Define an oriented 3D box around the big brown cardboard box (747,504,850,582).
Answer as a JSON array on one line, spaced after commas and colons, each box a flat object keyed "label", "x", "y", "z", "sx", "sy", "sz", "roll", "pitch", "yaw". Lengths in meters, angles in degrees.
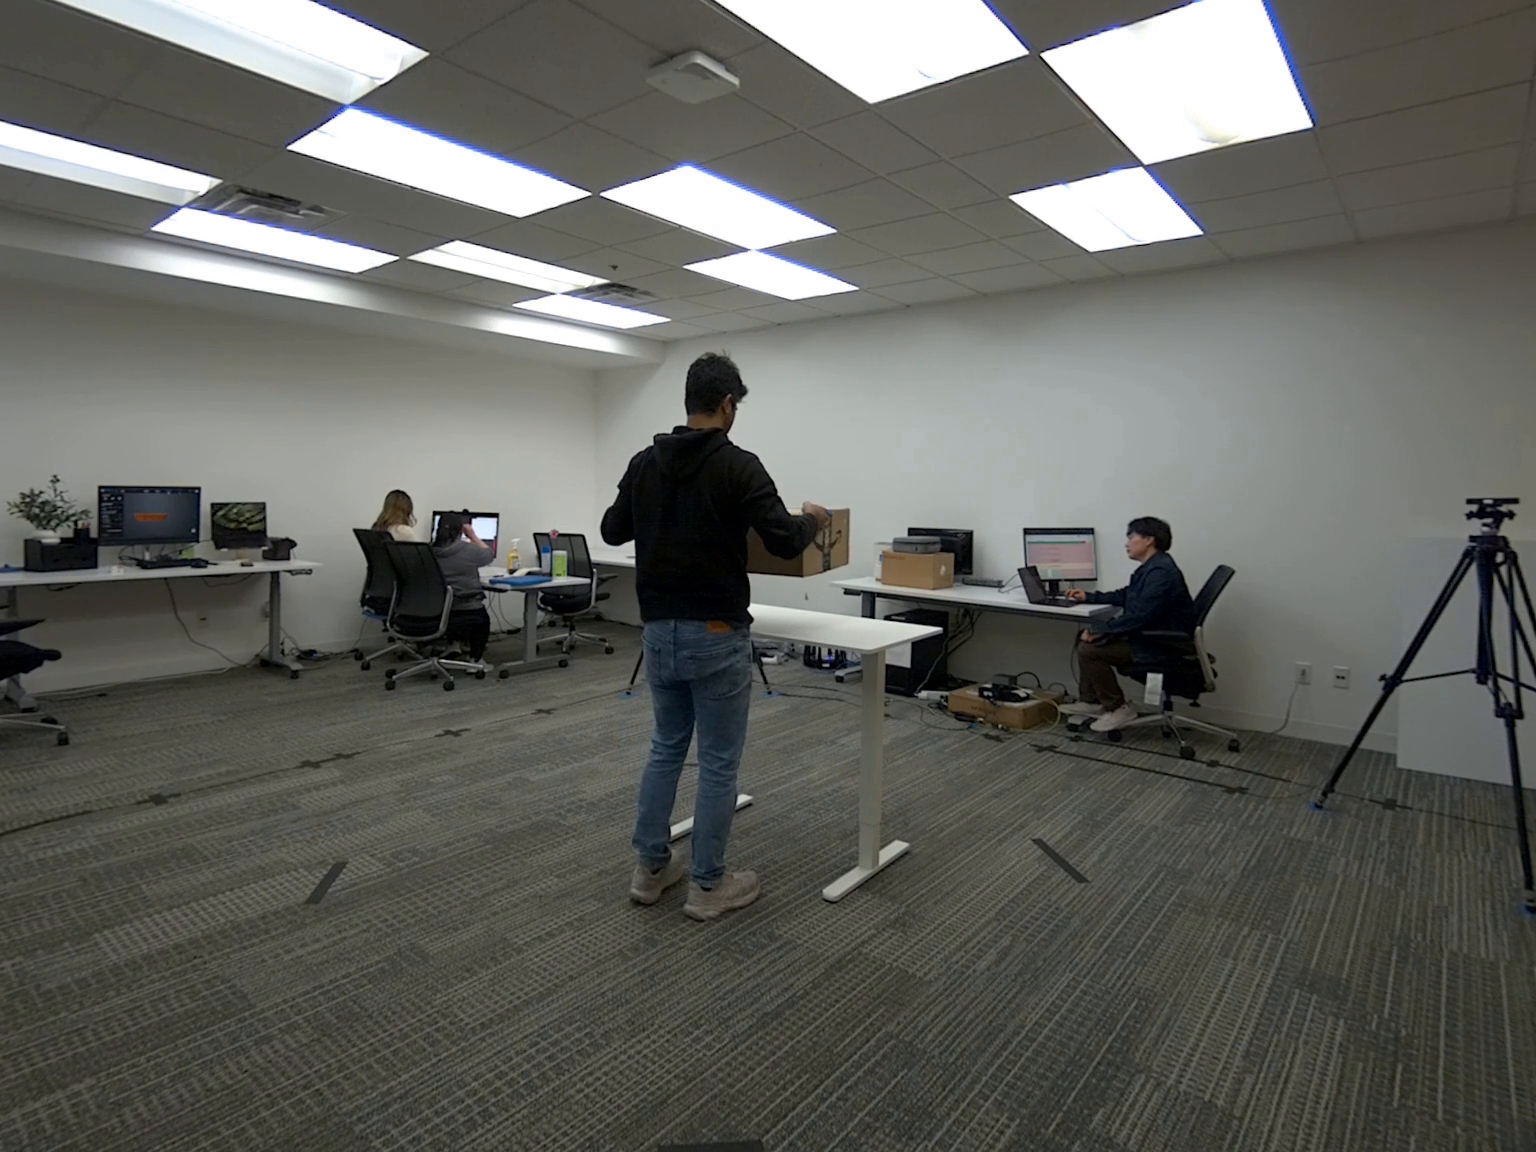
[{"label": "big brown cardboard box", "x": -0.049, "y": -0.142, "z": 3.171, "sx": 0.606, "sy": 0.232, "sz": 0.408, "roll": 3, "pitch": 9, "yaw": 29}]
